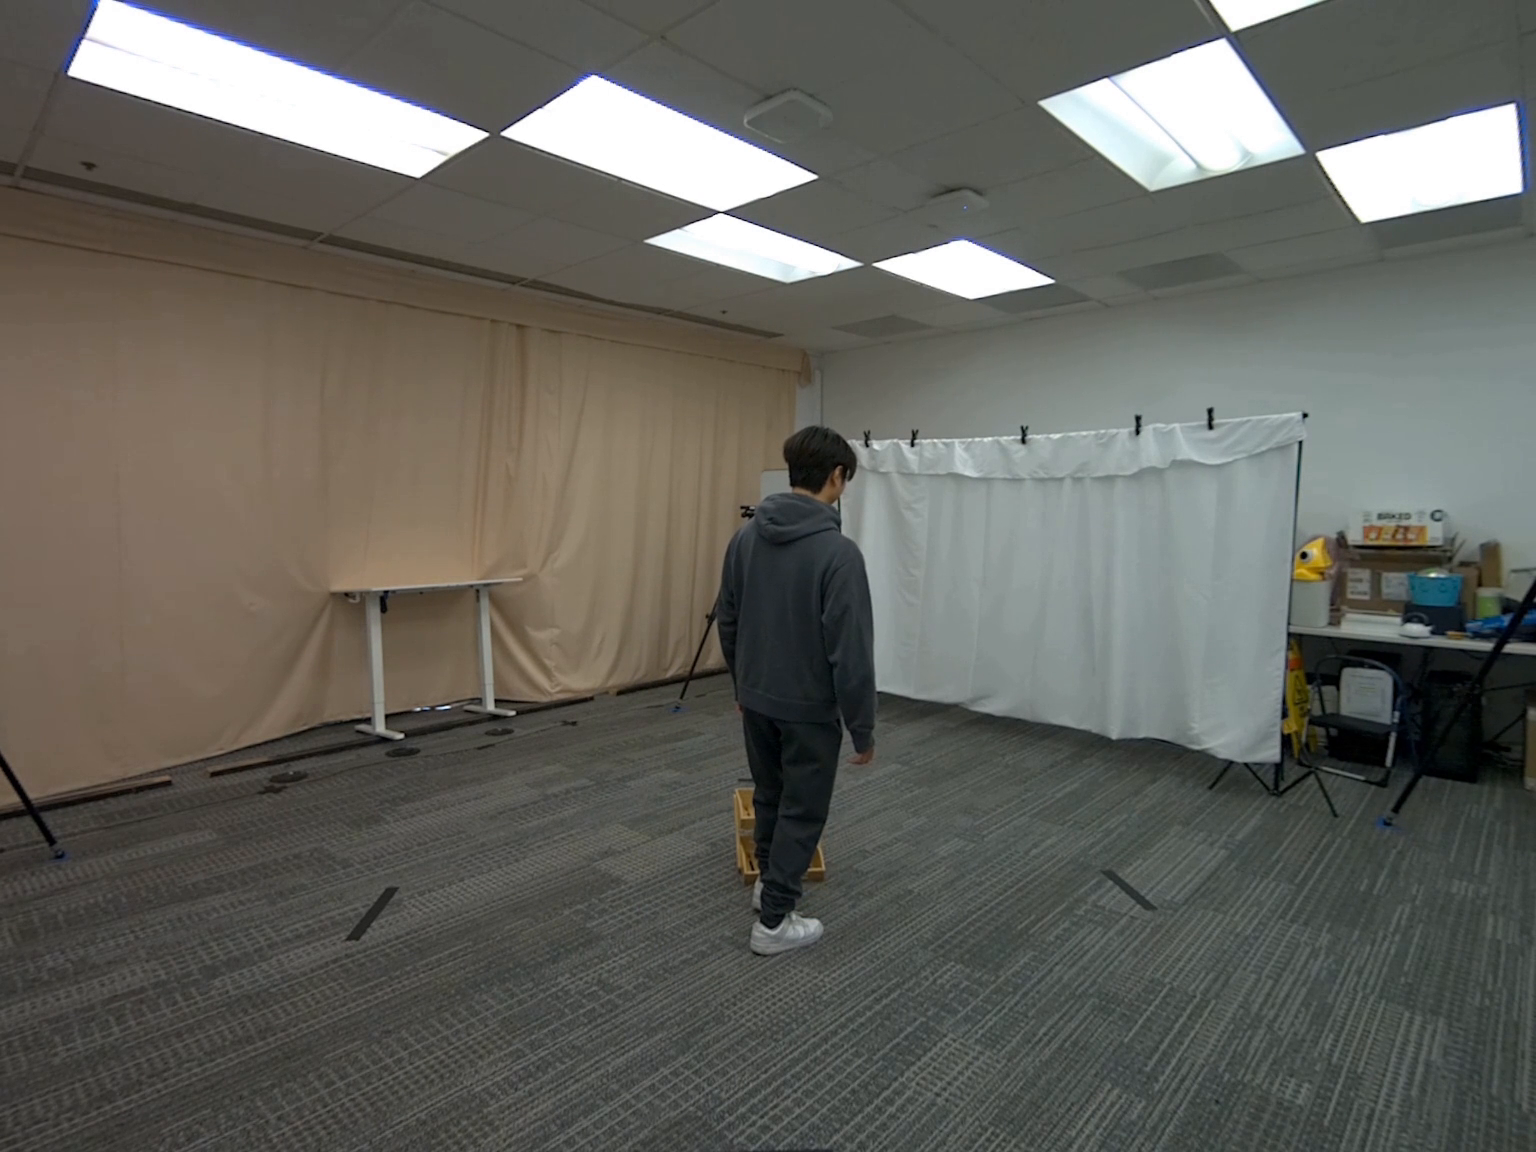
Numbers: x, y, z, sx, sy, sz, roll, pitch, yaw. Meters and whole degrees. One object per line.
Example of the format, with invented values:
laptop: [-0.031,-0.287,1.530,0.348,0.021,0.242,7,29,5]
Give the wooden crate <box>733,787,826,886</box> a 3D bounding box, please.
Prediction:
wooden crate: [0.045,0.988,3.234,0.322,0.273,0.305,-1,4,-7]
